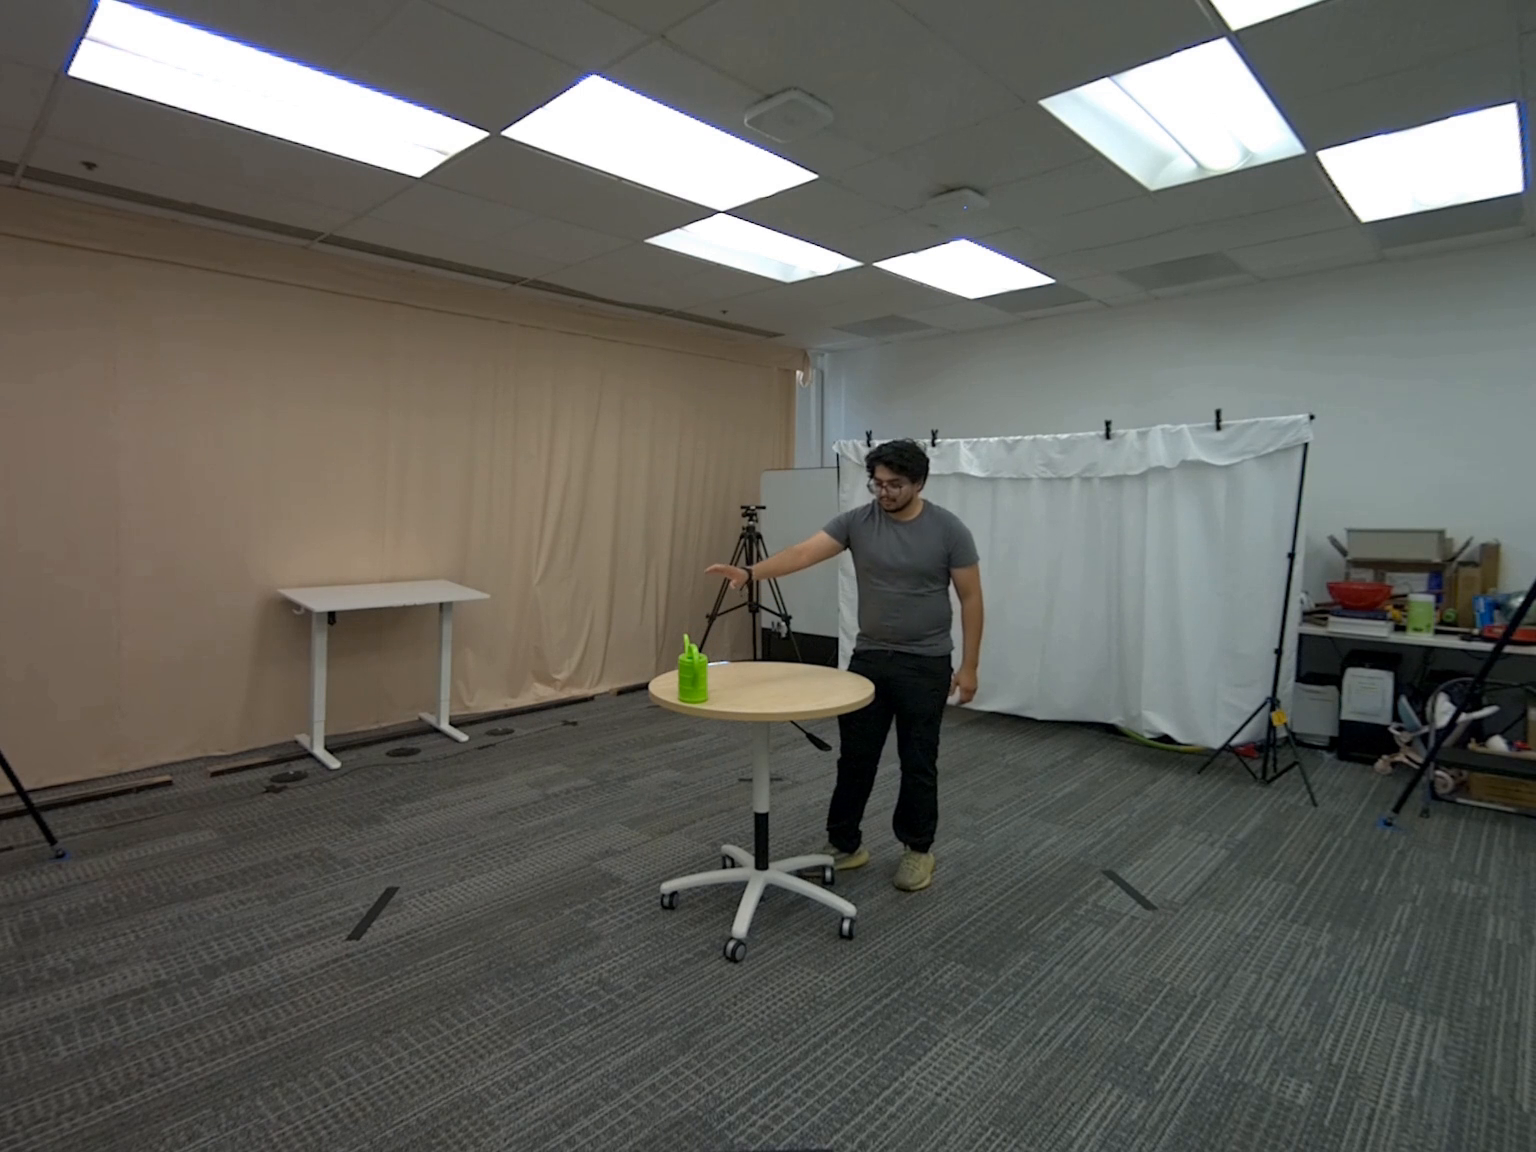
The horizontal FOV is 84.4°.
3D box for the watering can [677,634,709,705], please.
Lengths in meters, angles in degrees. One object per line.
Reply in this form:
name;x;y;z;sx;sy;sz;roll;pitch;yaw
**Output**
watering can;-0.232;0.302;2.705;0.098;0.176;0.278;-1;6;1
